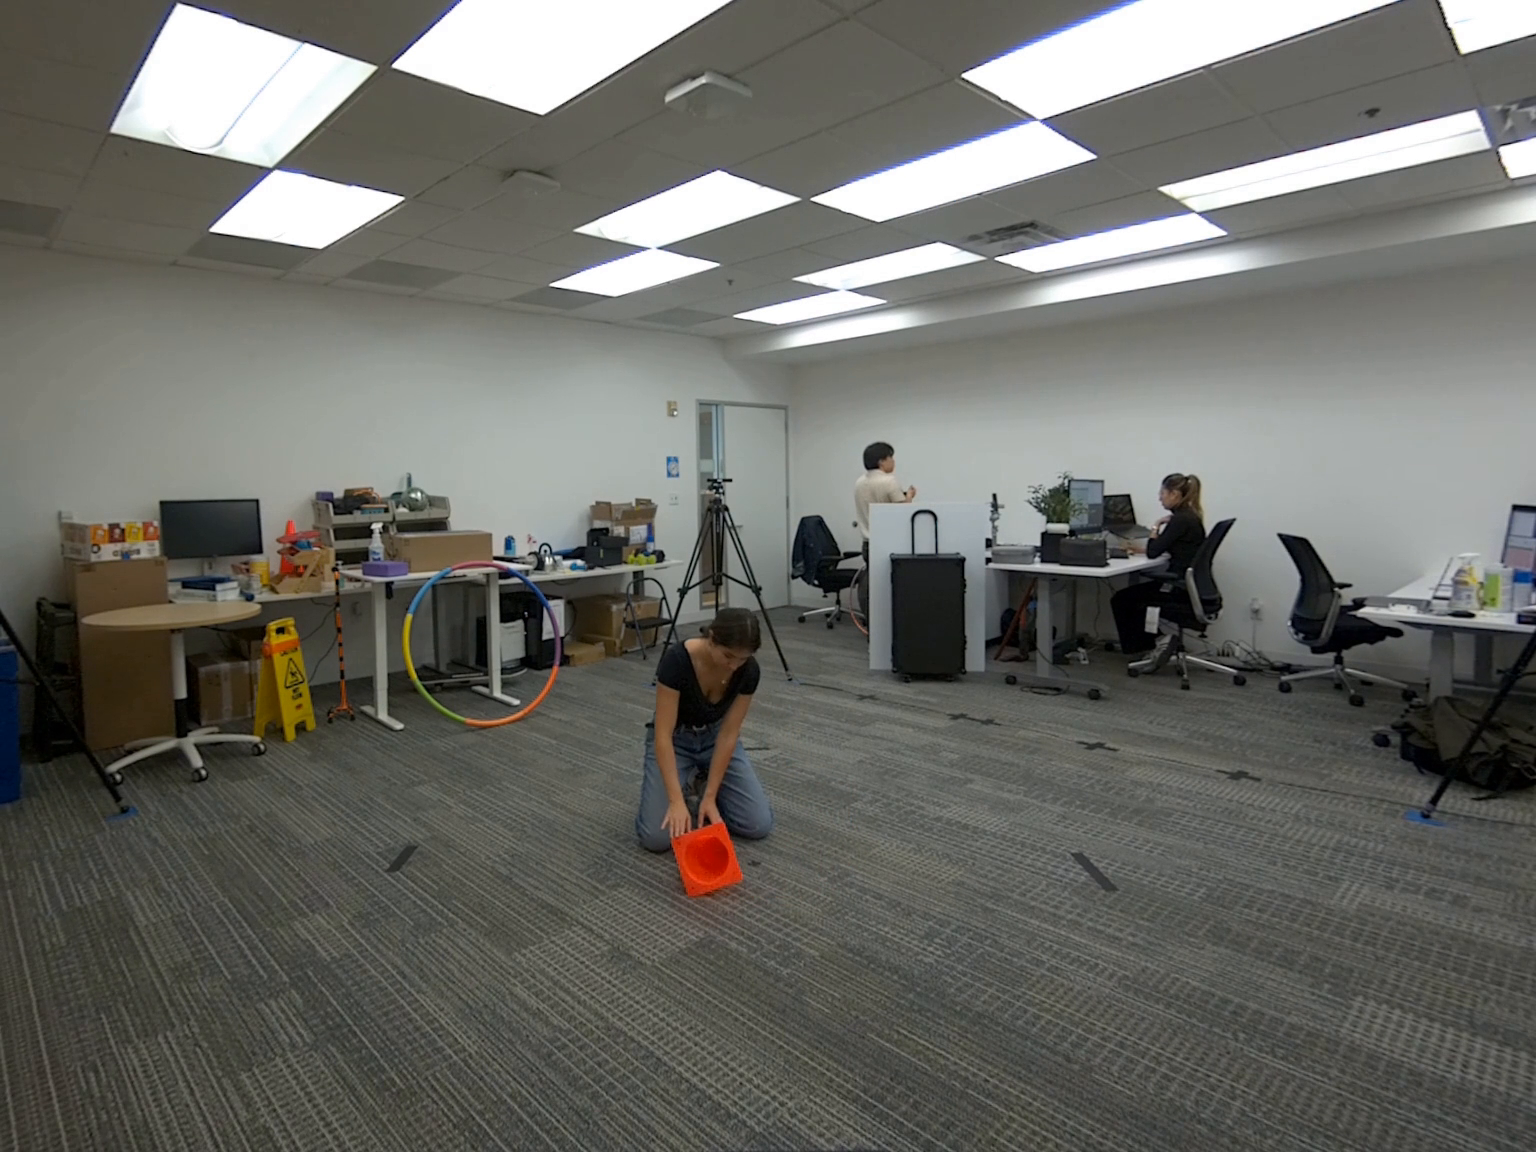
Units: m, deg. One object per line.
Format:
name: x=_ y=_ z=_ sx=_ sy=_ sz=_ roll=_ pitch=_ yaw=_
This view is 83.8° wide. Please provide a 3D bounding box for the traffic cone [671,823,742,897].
traffic cone: x=-0.190 y=1.002 z=3.071 sx=0.205 sy=0.206 sz=0.377 roll=-13 pitch=-13 yaw=1
